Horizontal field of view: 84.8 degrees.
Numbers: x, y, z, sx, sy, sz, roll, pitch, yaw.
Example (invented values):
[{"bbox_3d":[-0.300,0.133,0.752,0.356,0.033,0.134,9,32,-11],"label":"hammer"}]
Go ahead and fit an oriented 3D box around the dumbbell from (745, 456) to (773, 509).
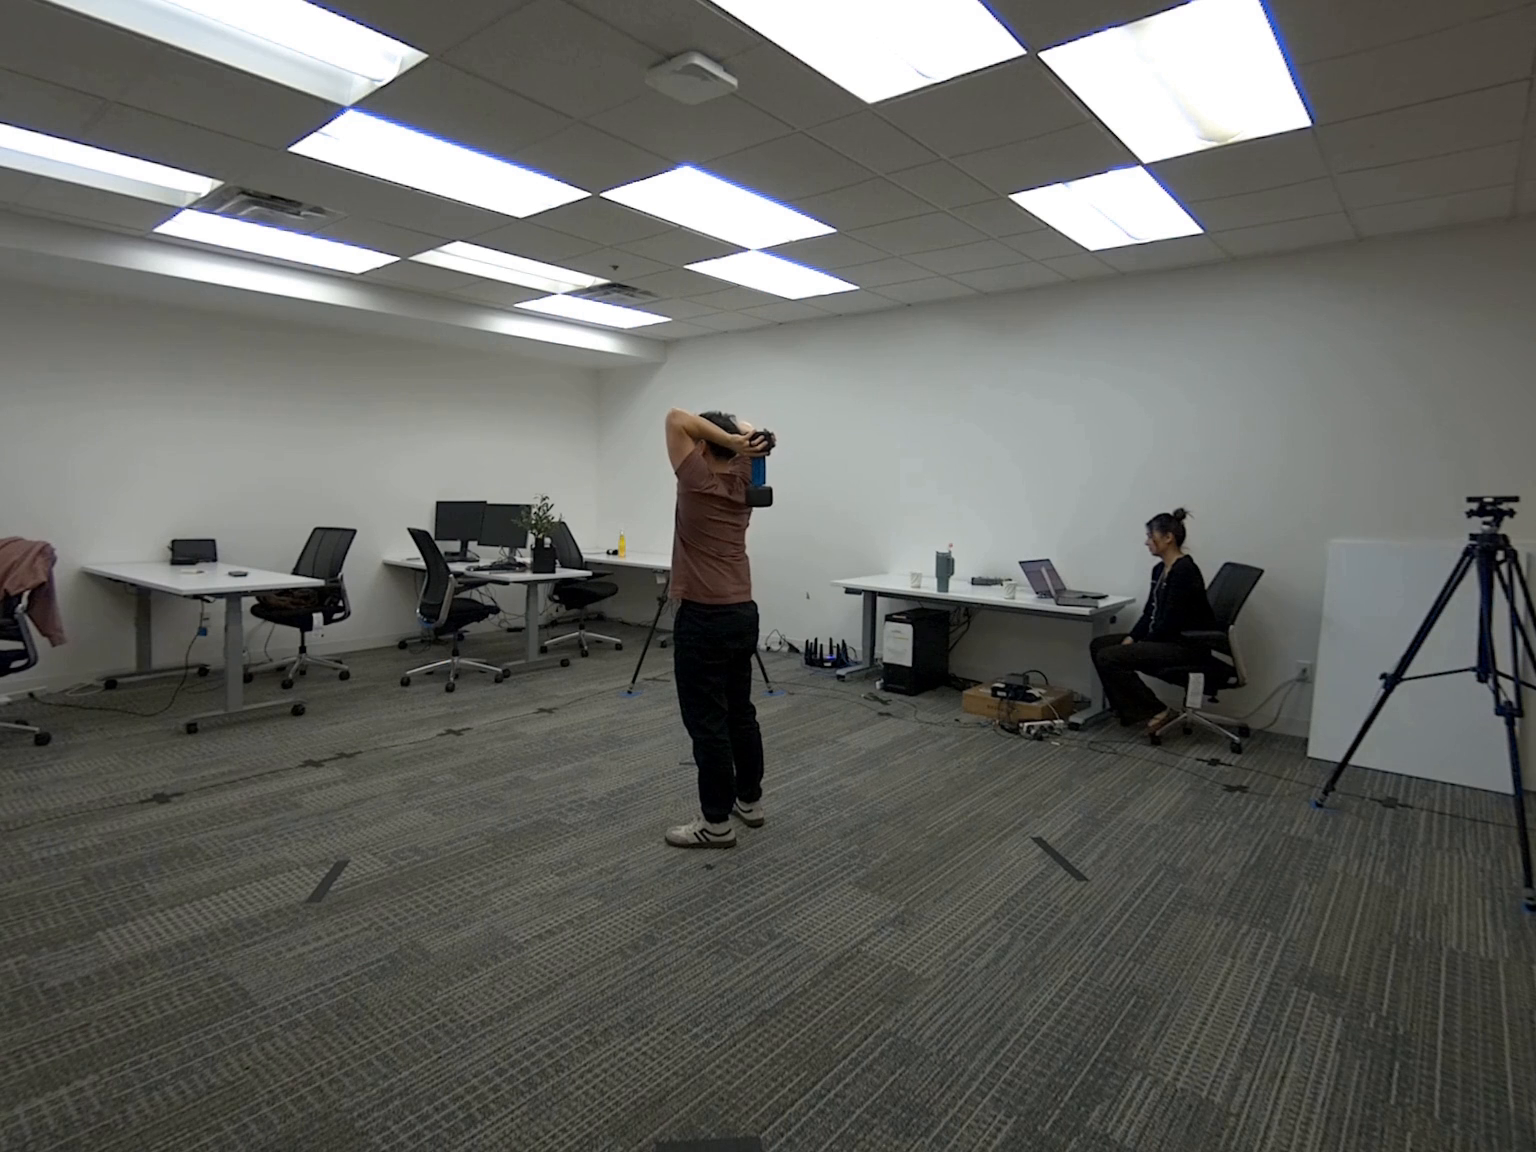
[{"bbox_3d":[-0.051,-0.422,3.320,0.127,0.292,0.105,5,5,39],"label":"dumbbell"}]
